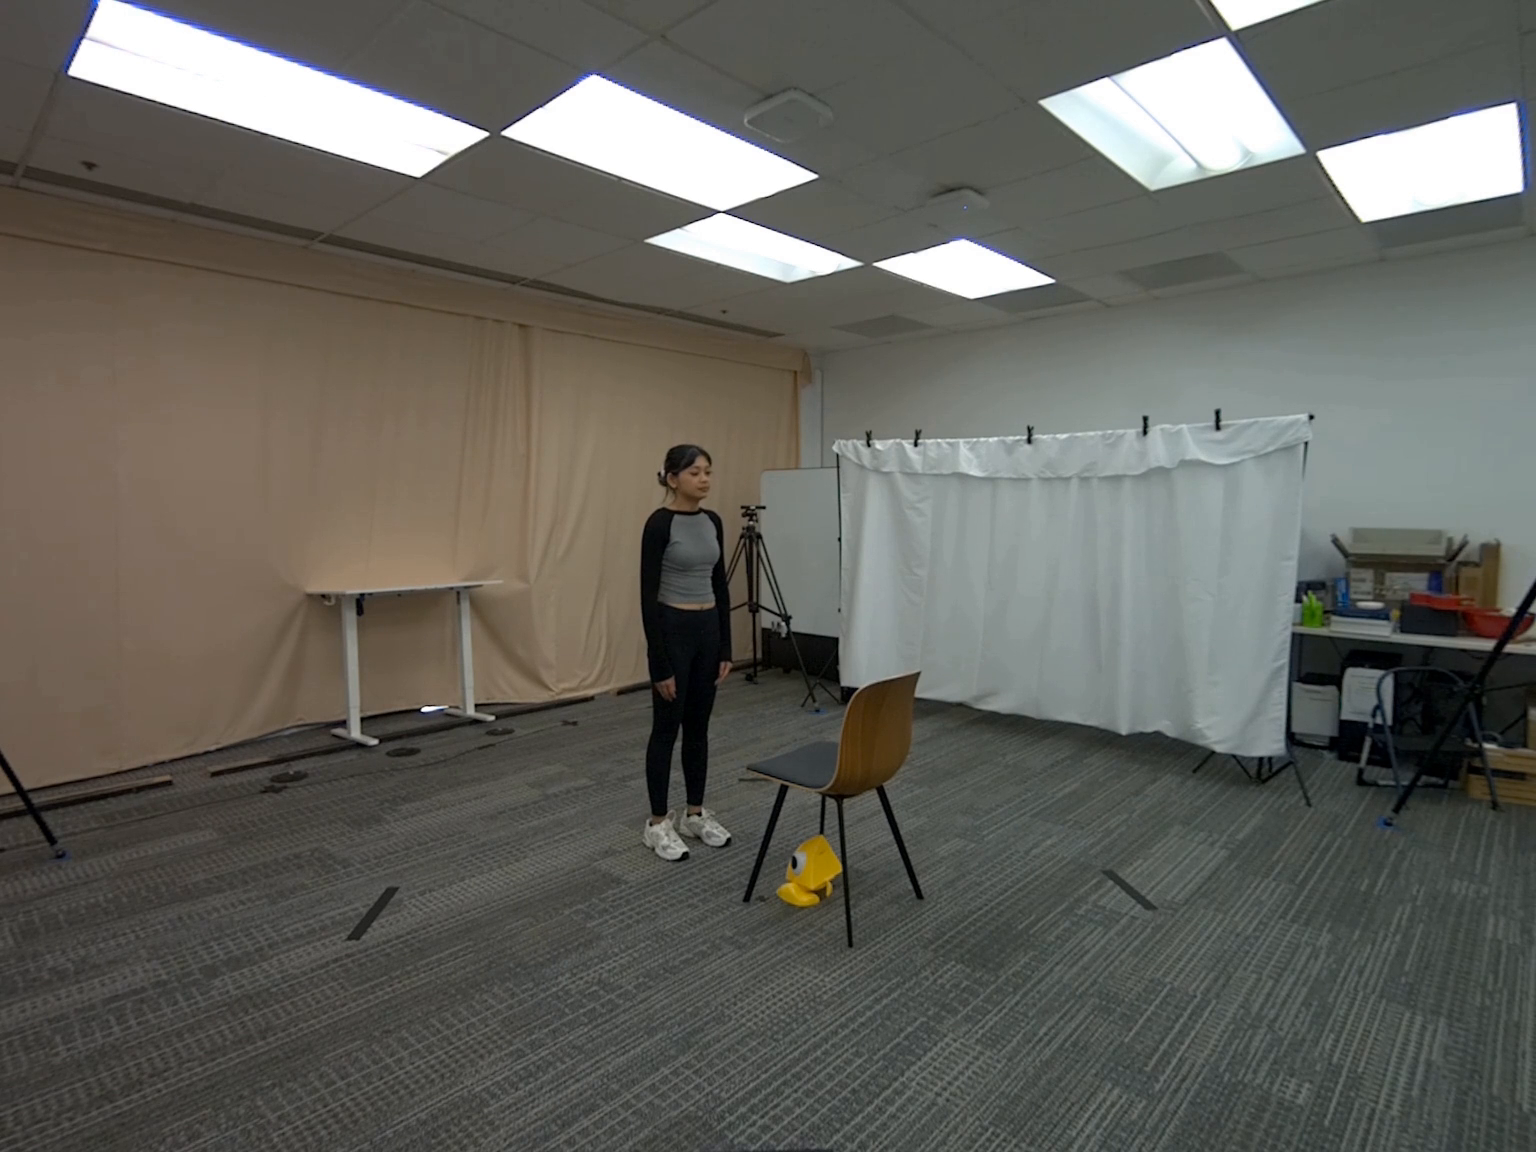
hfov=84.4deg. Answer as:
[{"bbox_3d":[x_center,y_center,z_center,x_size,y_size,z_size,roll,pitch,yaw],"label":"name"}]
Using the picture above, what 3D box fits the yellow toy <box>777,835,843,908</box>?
[{"bbox_3d":[0.143,1.030,3.016,0.199,0.230,0.199,4,6,40],"label":"yellow toy"}]
